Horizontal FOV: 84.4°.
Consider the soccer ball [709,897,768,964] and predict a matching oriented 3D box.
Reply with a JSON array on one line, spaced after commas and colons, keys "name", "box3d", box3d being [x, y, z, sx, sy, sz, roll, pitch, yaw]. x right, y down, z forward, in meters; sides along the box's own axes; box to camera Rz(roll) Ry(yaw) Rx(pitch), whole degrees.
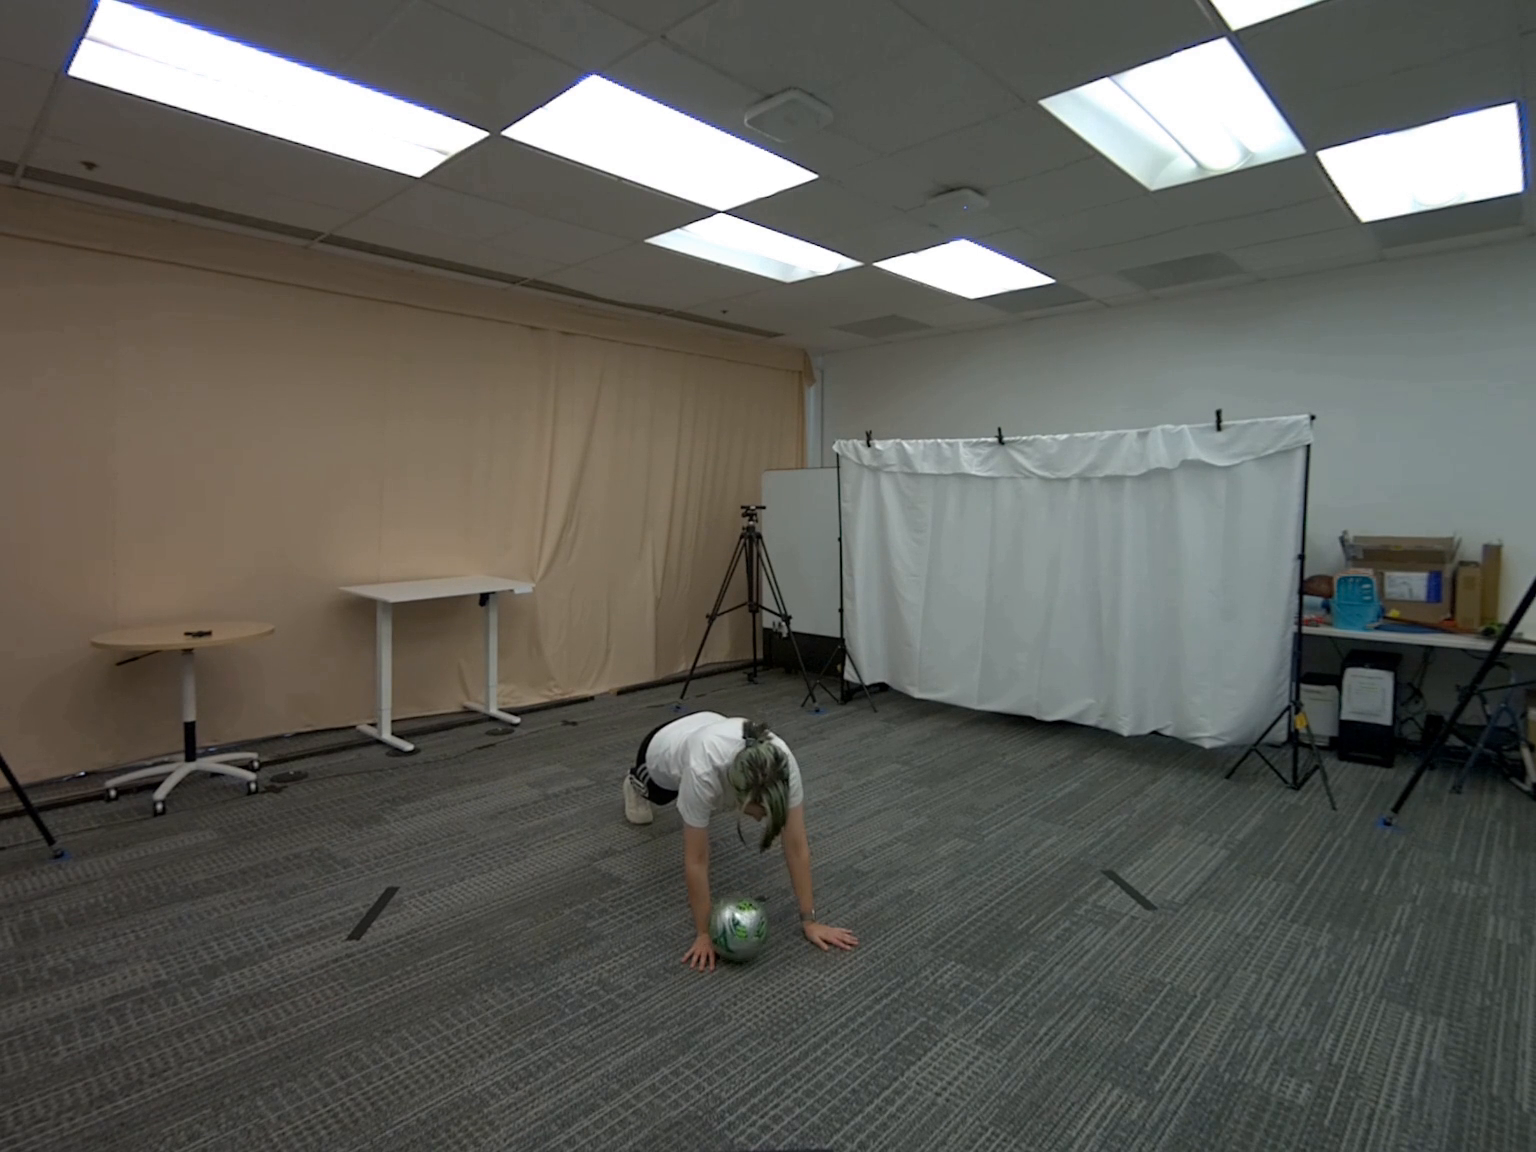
[{"name": "soccer ball", "box3d": [-0.081, 1.082, 2.578, 0.187, 0.187, 0.188, 0, 4, -2]}]
